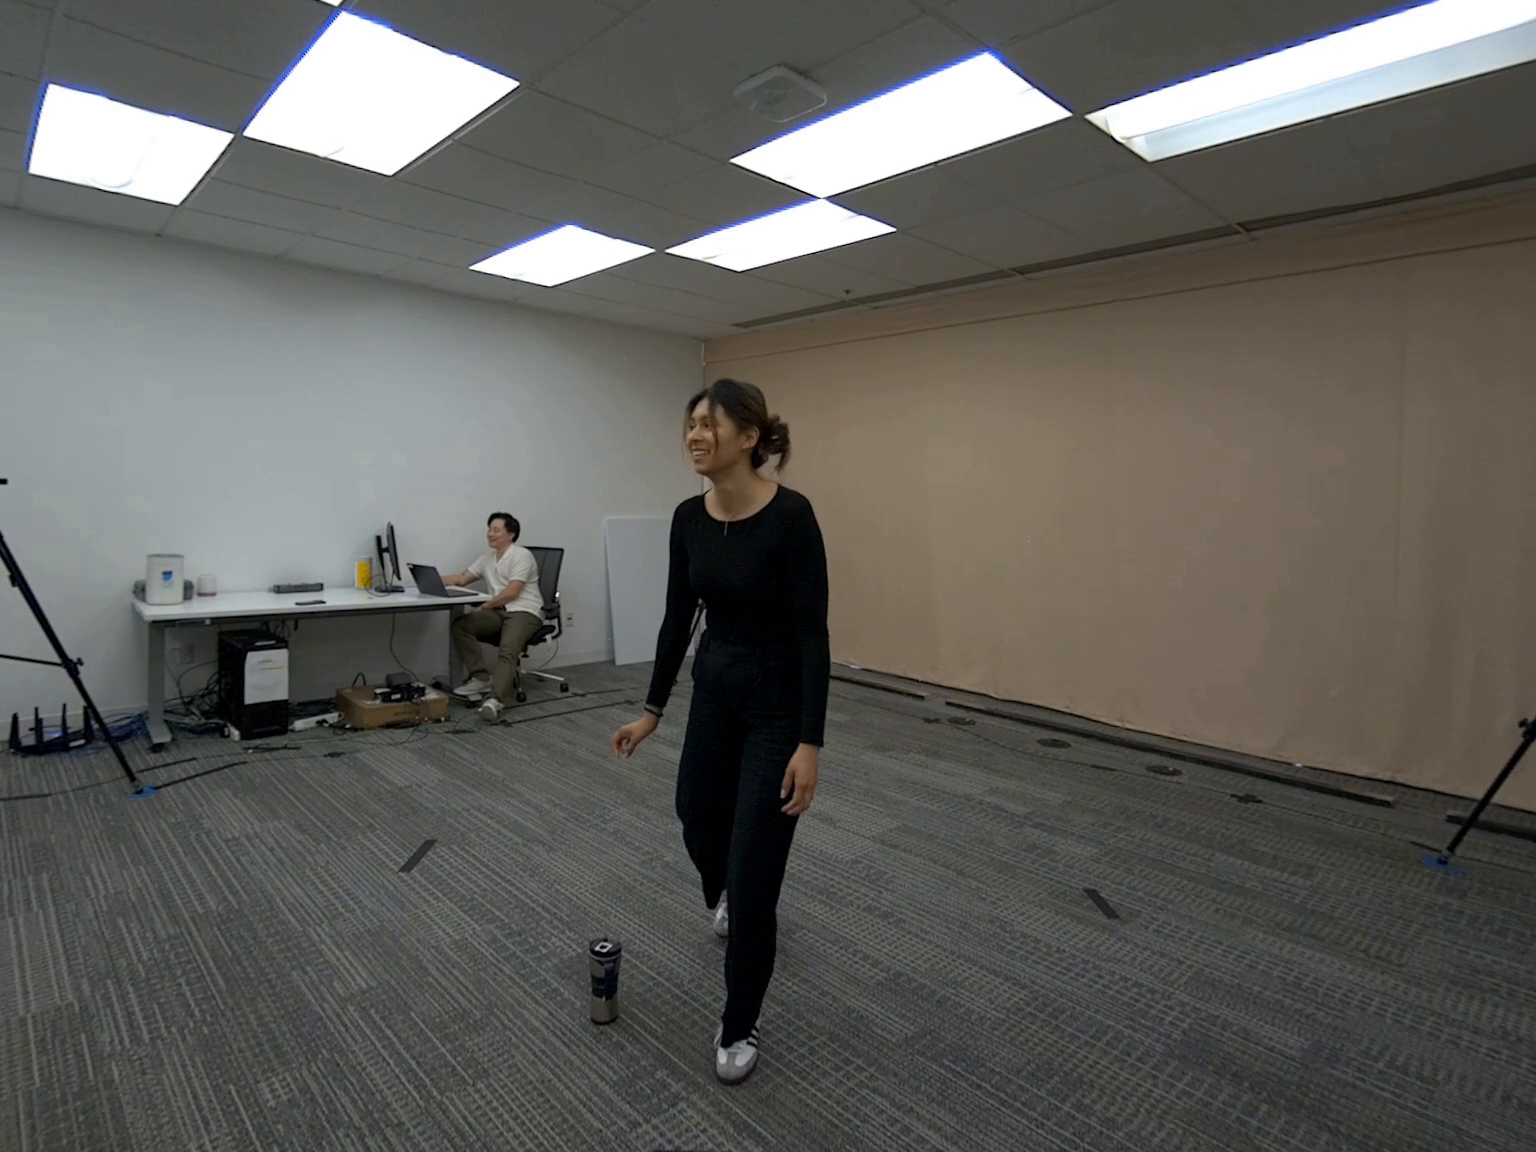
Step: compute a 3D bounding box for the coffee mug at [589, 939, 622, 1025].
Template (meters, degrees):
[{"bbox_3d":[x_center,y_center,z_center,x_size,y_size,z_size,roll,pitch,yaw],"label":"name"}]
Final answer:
[{"bbox_3d":[-0.454,1.088,2.212,0.088,0.203,0.121,5,2,4],"label":"coffee mug"}]
